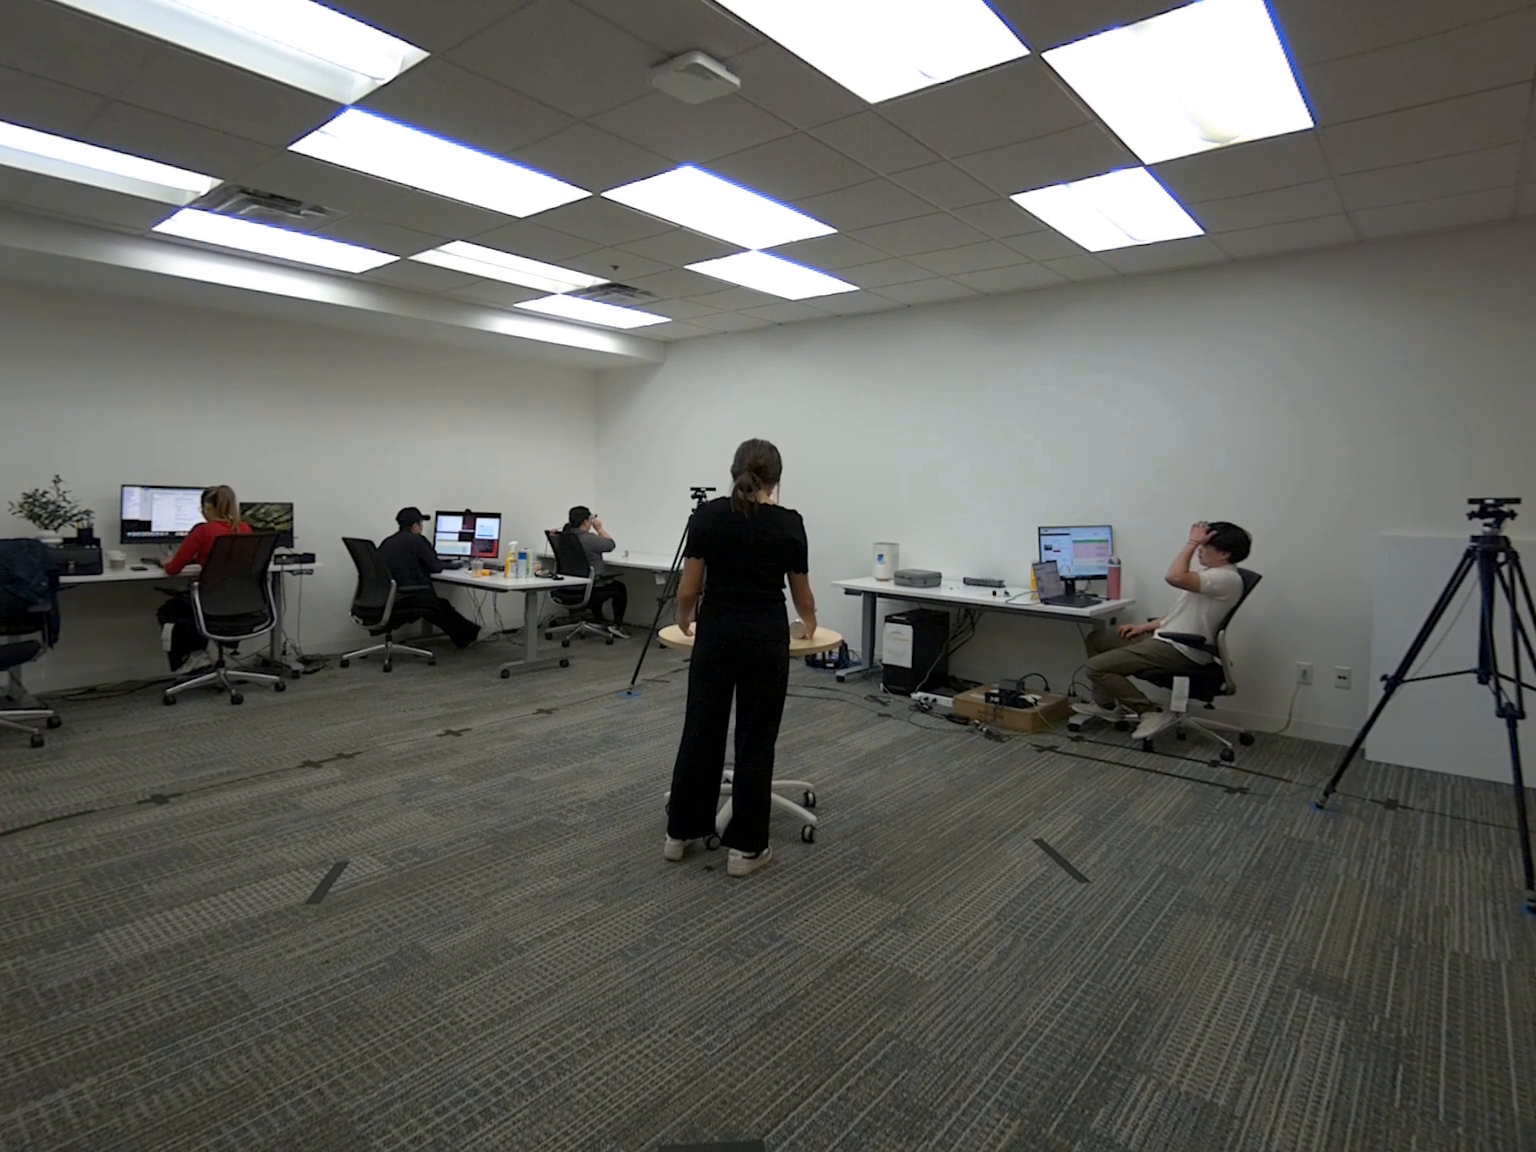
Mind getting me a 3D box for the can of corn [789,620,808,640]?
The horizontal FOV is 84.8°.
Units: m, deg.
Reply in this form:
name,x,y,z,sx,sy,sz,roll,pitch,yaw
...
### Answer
name,x,y,z,sx,sy,sz,roll,pitch,yaw
can of corn,0.125,0.210,3.508,0.075,0.074,0.109,2,5,17
